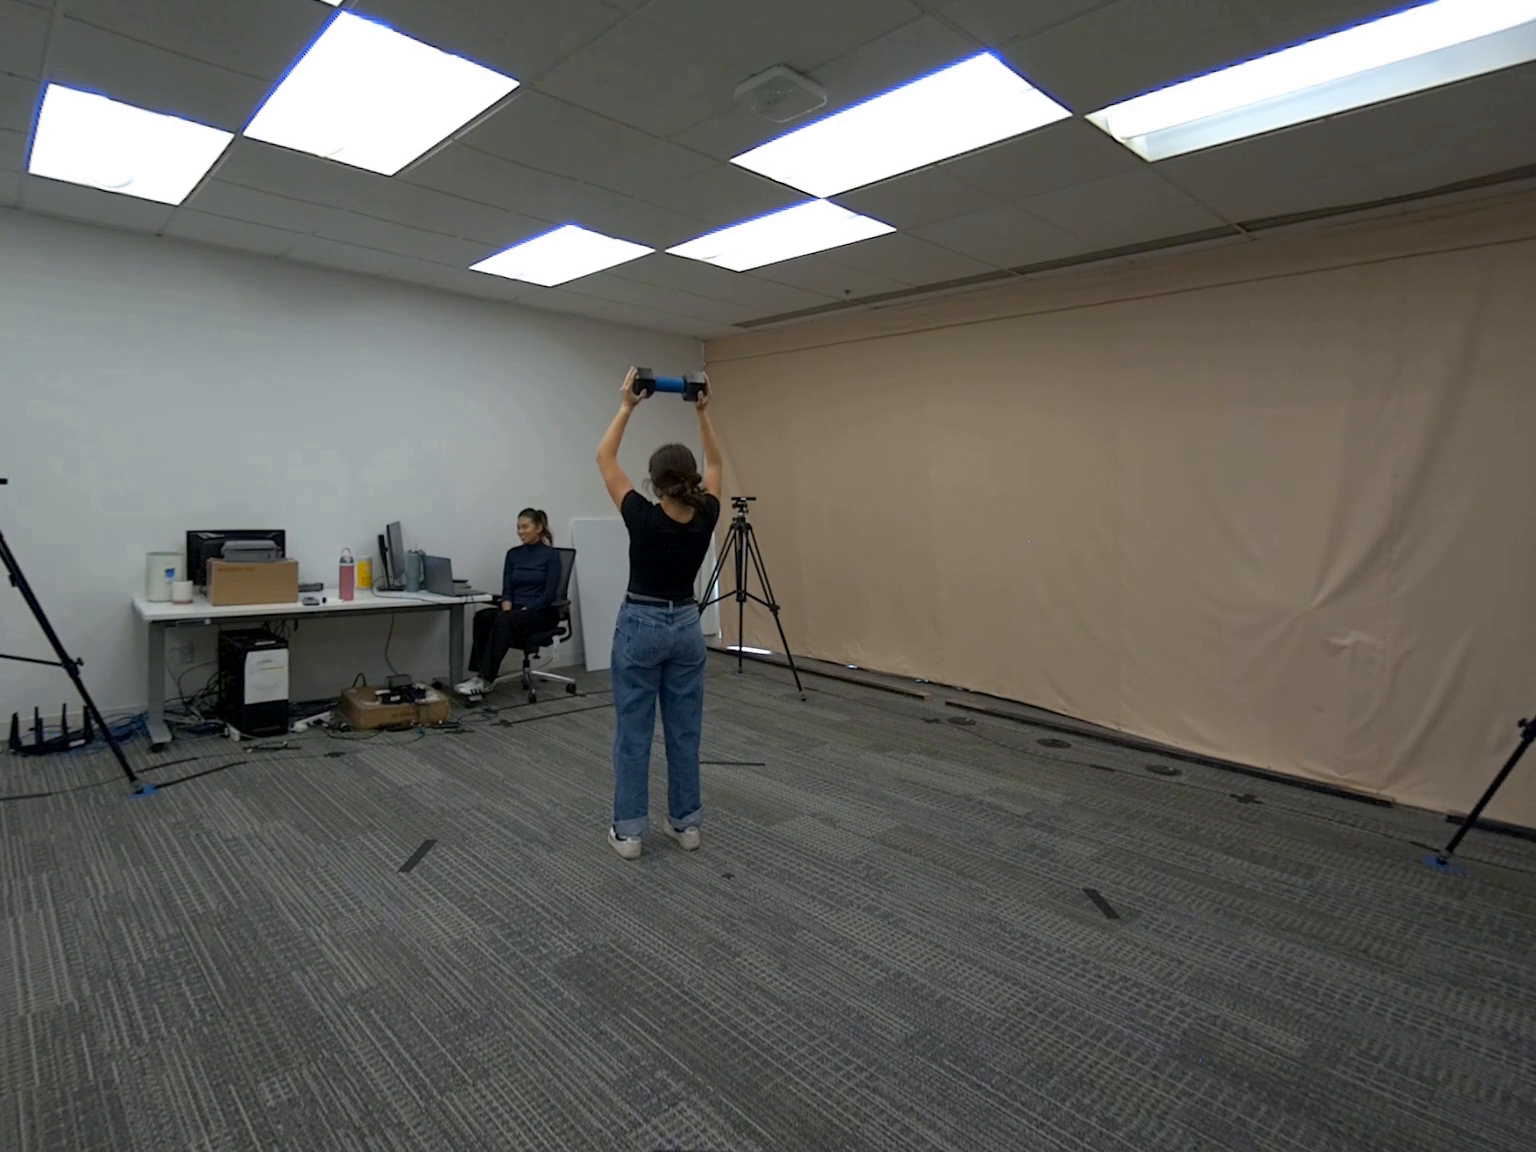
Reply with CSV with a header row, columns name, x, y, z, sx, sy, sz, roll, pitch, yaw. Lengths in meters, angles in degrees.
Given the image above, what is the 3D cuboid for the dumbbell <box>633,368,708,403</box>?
name,x,y,z,sx,sy,sz,roll,pitch,yaw
dumbbell,-0.401,-0.753,3.346,0.288,0.126,0.108,-1,-36,-24
